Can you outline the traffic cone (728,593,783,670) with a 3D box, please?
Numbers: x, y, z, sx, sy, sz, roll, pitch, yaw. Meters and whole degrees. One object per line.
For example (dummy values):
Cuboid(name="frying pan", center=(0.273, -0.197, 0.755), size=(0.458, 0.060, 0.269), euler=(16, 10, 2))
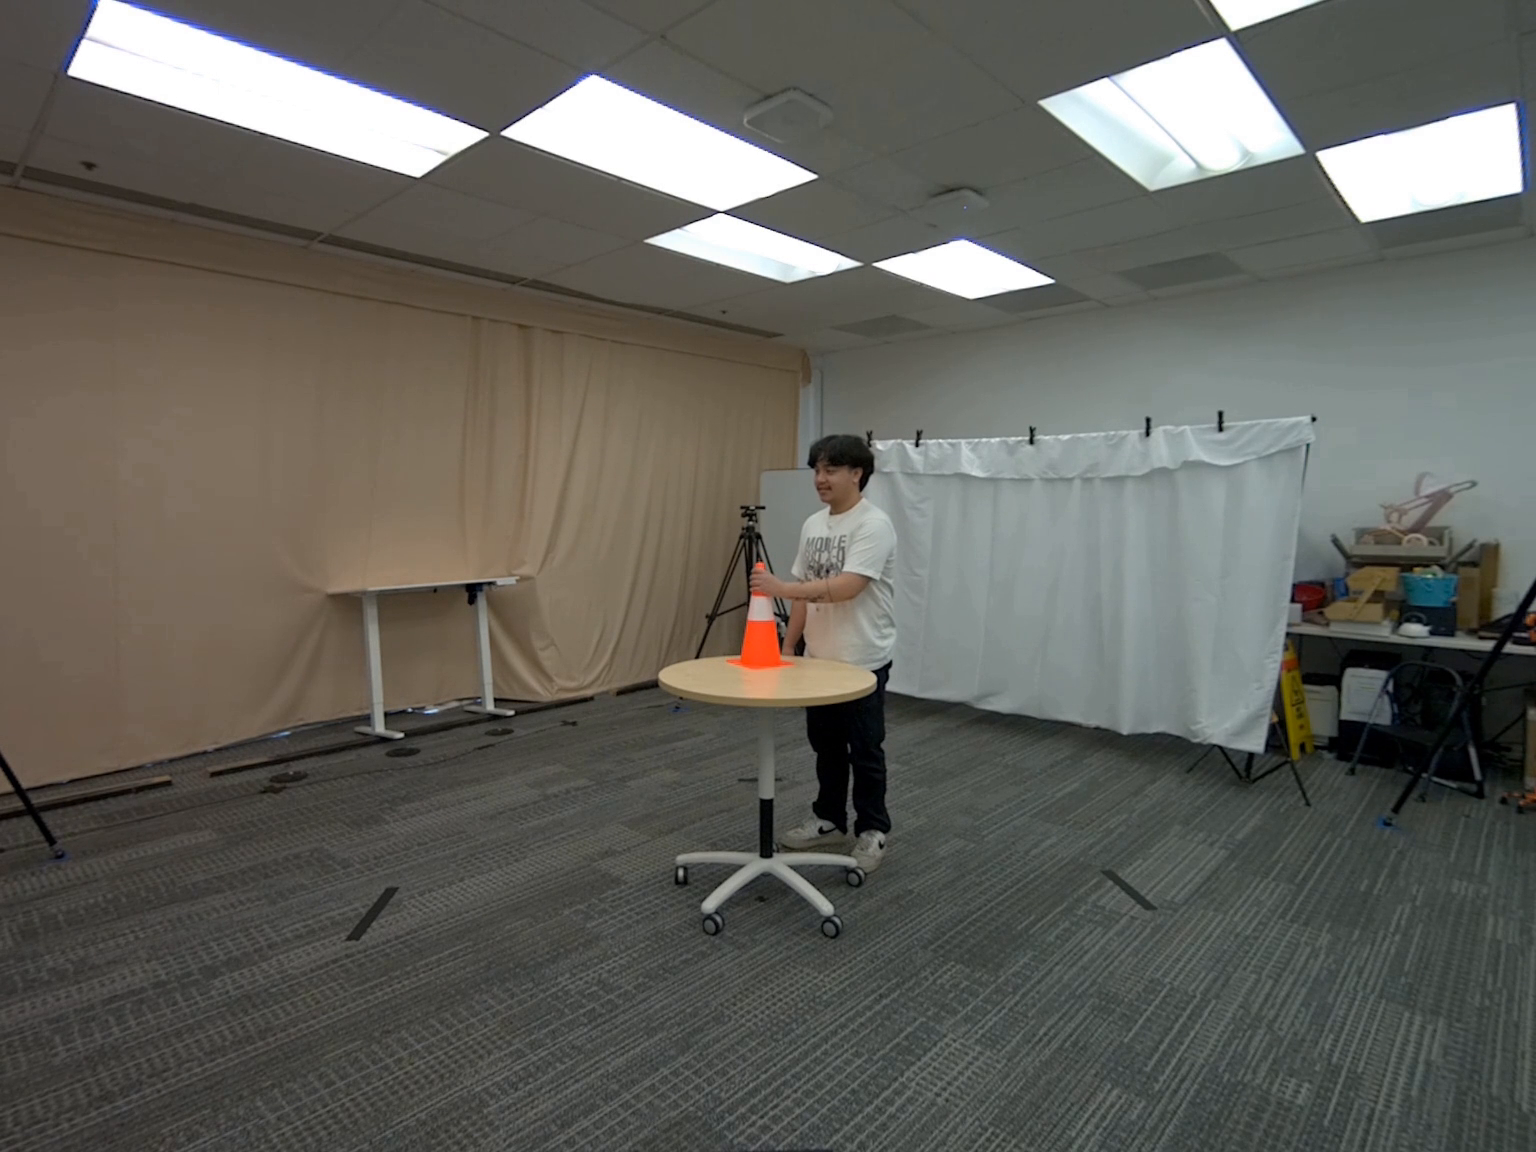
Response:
Cuboid(name="traffic cone", center=(-0.020, 0.146, 3.187), size=(0.197, 0.383, 0.212), euler=(0, 2, -42))
